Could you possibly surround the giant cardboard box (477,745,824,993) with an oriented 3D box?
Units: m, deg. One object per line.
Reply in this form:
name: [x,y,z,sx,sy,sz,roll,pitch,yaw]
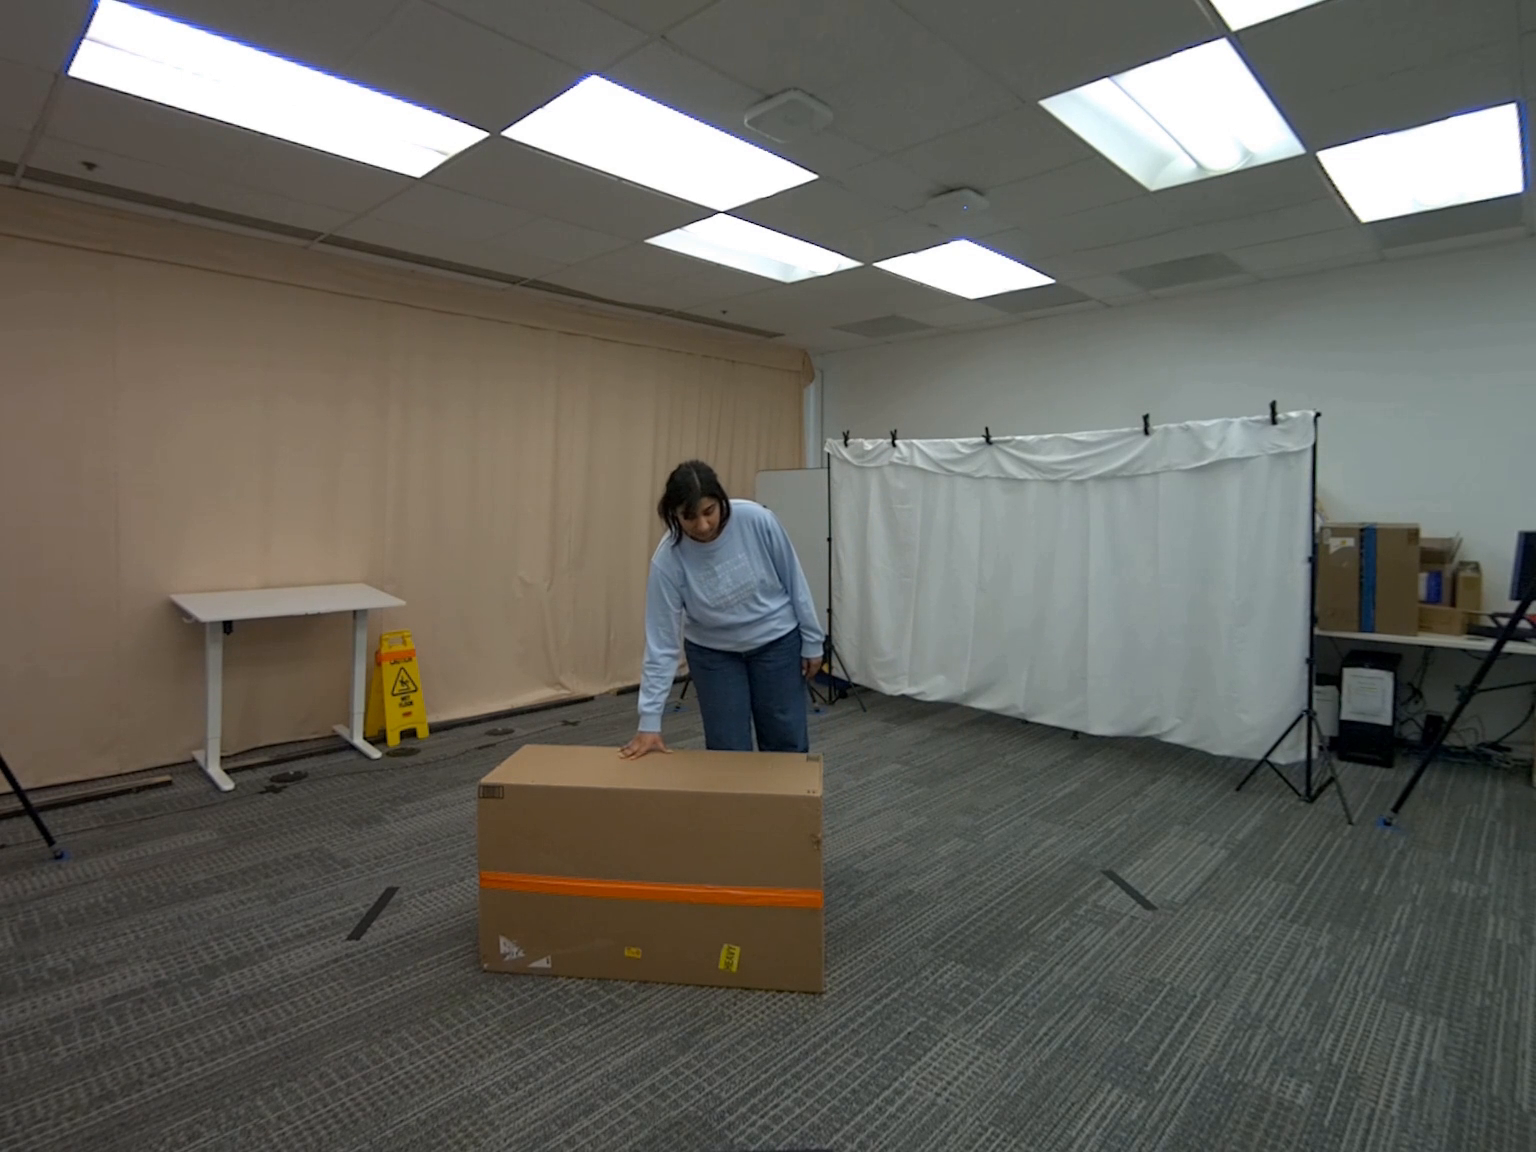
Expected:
giant cardboard box: [-0.347,0.881,2.647,1.034,0.576,0.424,1,4,7]
